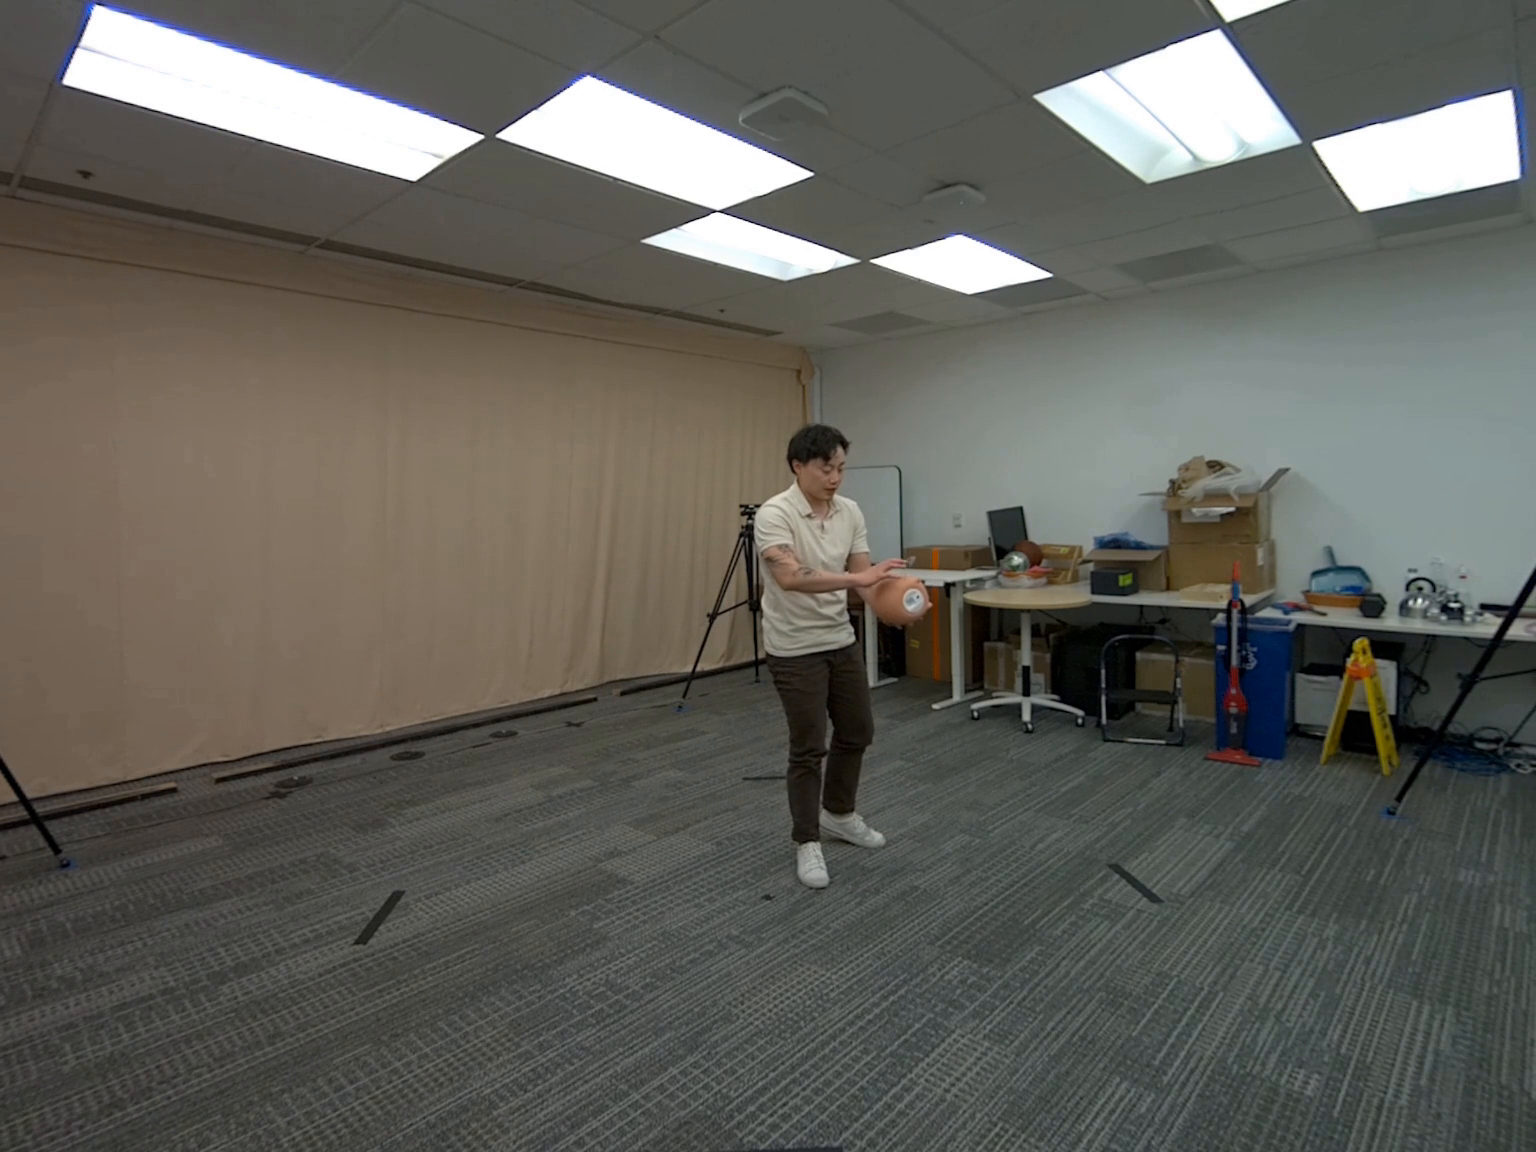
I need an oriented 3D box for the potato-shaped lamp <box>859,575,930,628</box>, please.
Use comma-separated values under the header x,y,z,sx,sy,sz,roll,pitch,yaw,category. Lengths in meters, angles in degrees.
x,y,z,sx,sy,sz,roll,pitch,yaw,category
0.438,0.079,2.867,0.170,0.162,0.202,-32,14,-16,potato-shaped lamp
